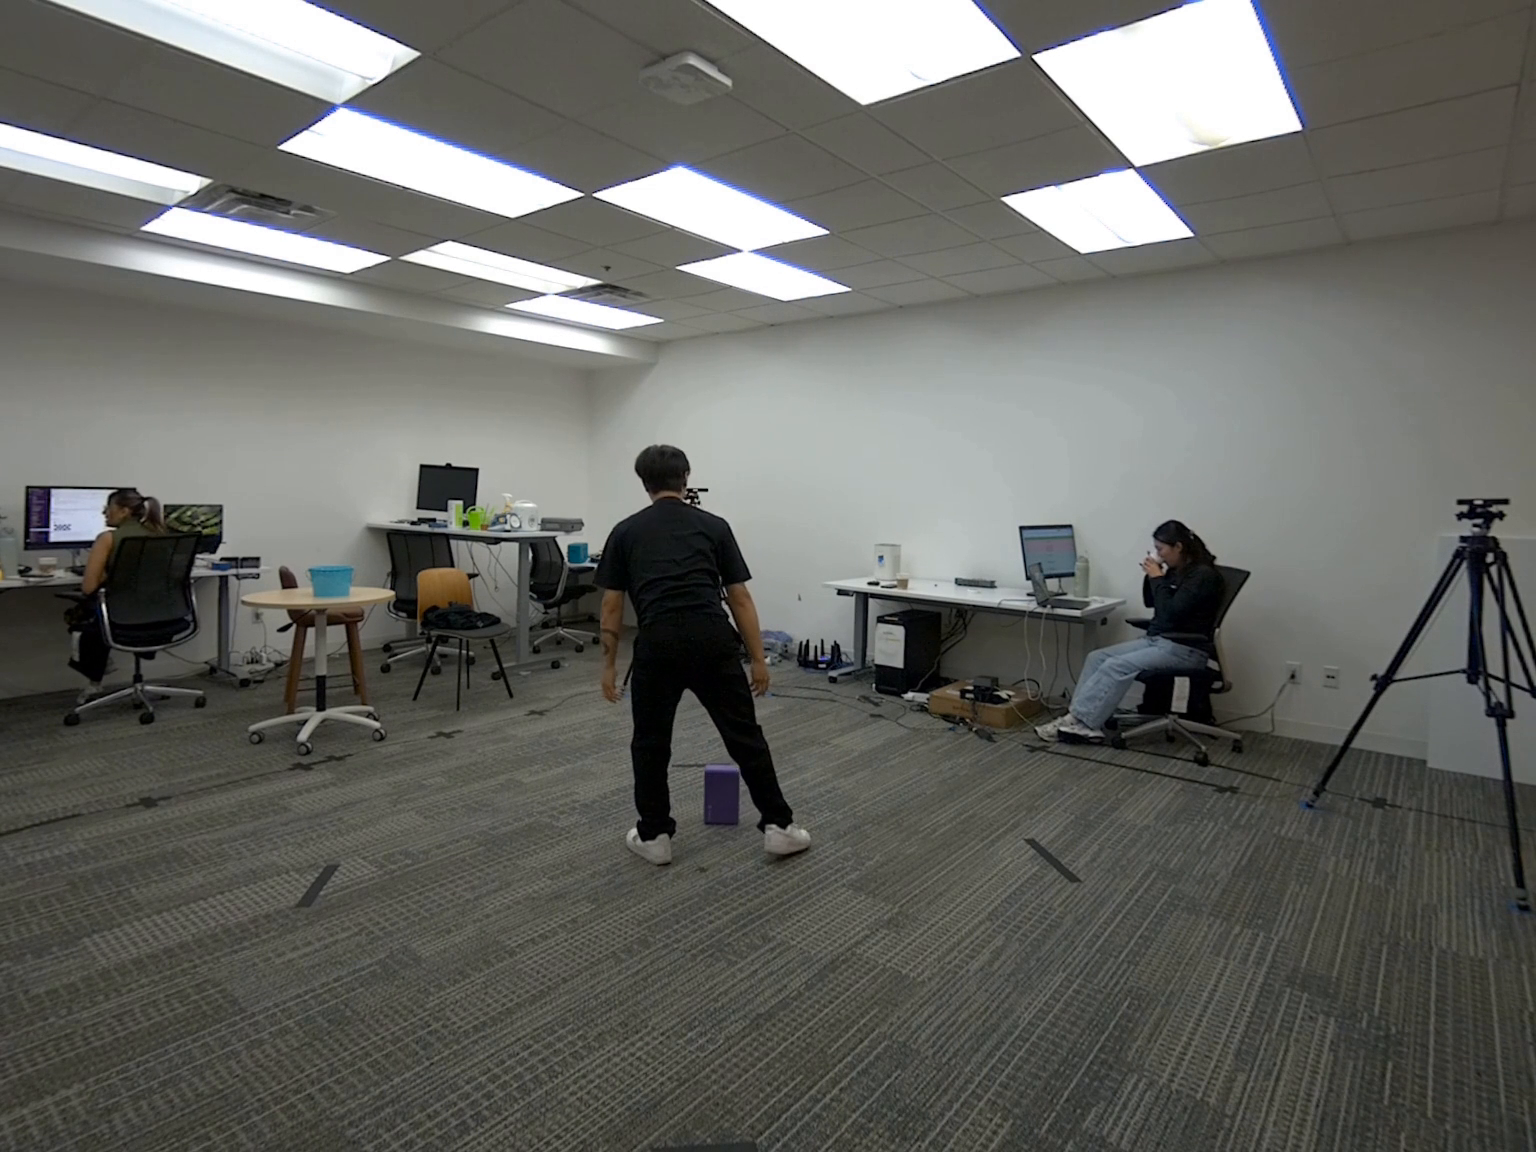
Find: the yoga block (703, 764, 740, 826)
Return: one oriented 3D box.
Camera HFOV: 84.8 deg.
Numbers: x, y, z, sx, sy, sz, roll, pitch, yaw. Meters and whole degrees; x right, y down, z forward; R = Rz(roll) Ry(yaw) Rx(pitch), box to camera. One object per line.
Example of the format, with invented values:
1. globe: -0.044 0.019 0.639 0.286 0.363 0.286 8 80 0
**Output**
1. yoga block: -0.203 0.913 3.558 0.149 0.228 0.077 0 4 0
